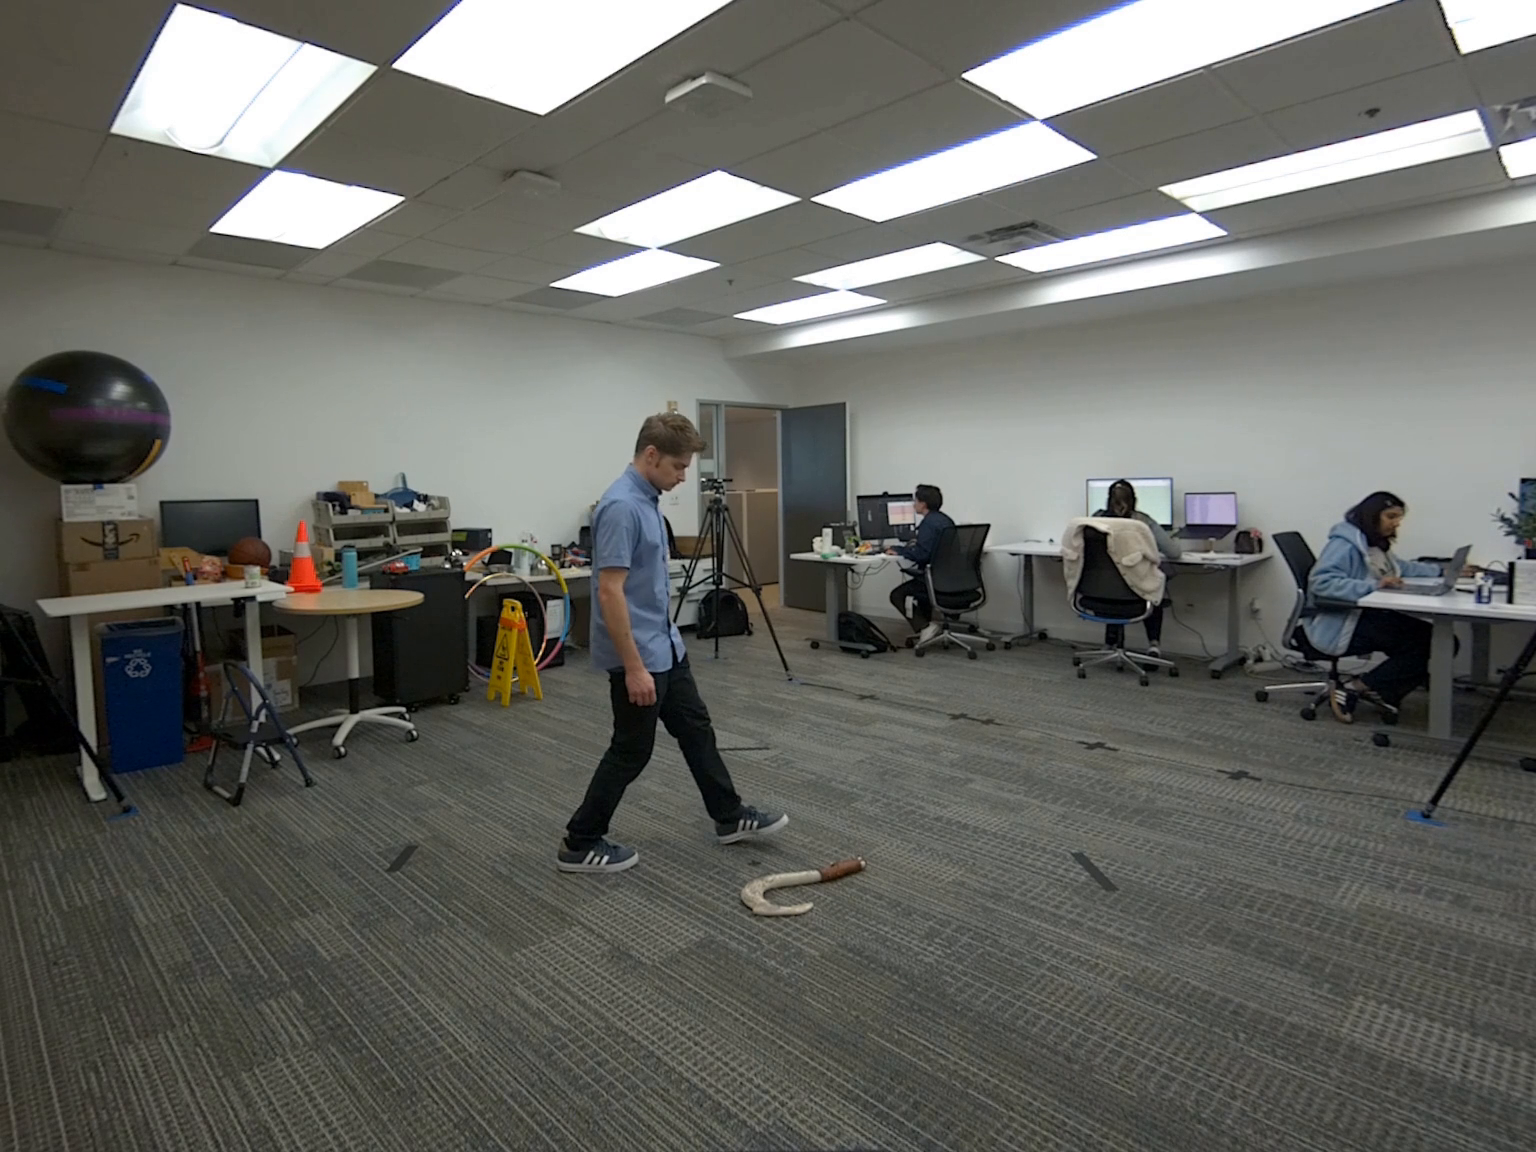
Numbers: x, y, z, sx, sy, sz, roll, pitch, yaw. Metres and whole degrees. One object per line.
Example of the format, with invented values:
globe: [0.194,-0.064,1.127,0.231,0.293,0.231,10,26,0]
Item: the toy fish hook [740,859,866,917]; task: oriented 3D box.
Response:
toy fish hook: [0.157,1.052,2.885,0.496,0.048,0.232,-6,16,-28]
